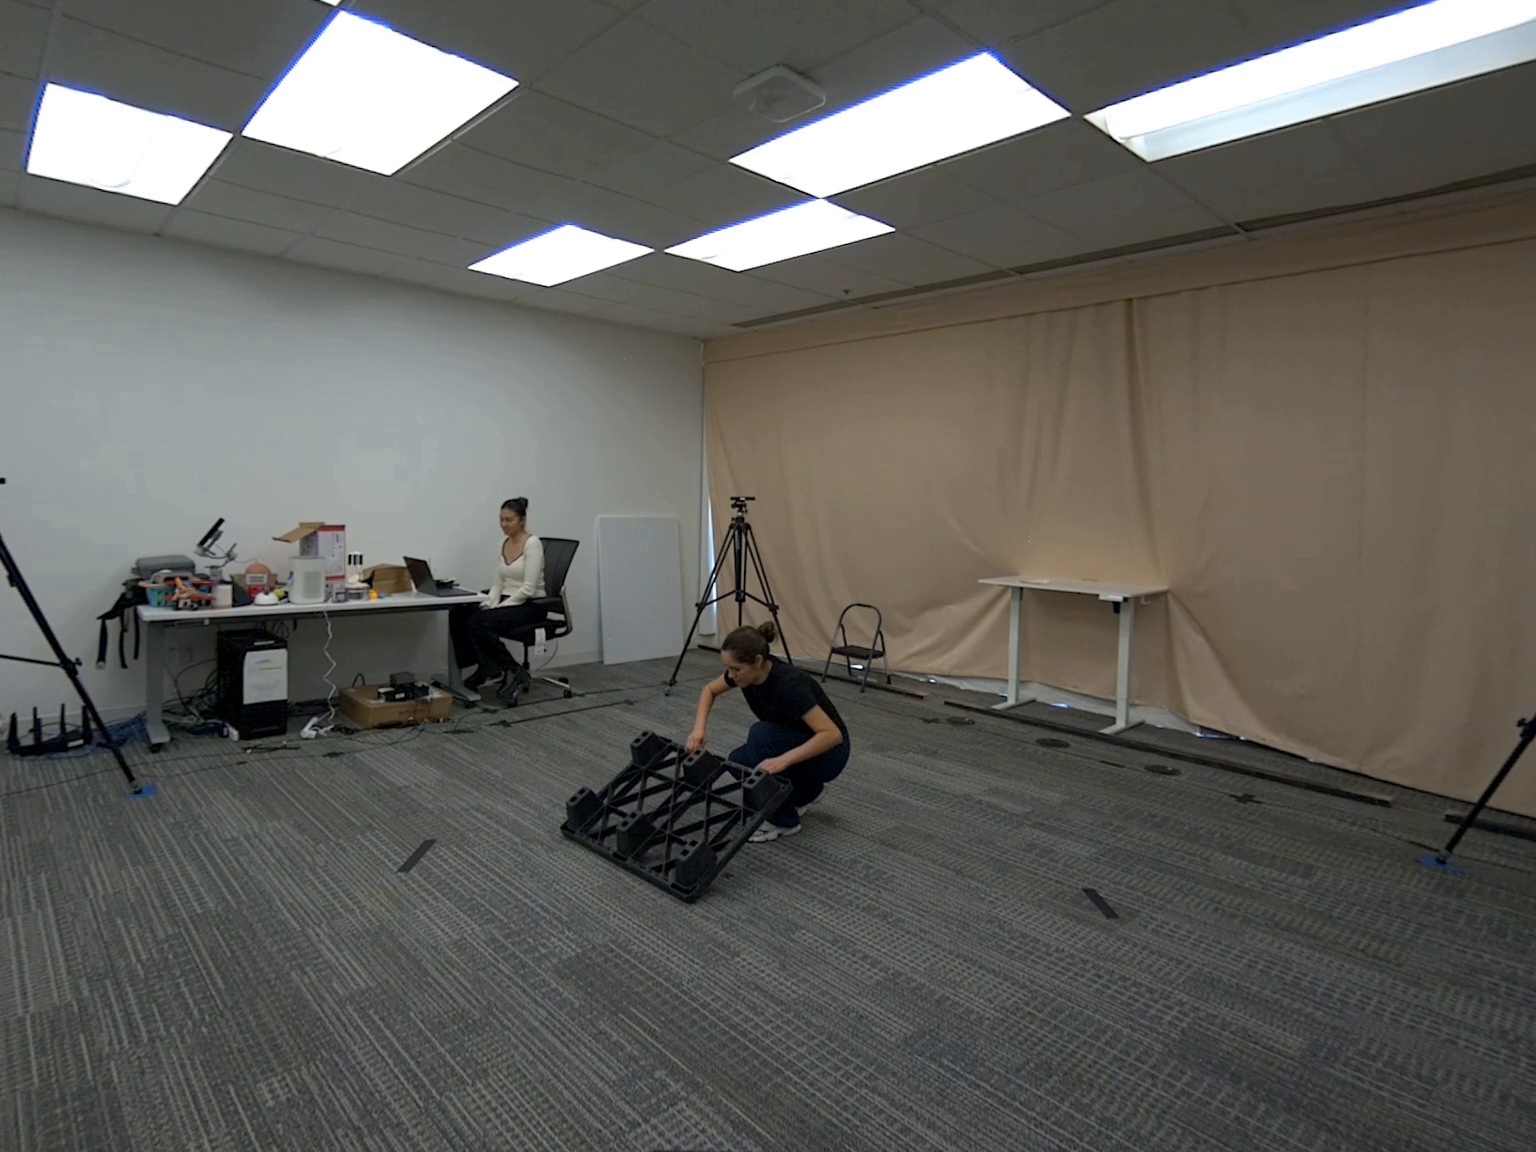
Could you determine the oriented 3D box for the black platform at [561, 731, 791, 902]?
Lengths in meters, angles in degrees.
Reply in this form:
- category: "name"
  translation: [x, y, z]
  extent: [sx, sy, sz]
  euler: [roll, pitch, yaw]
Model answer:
- category: "black platform"
  translation: [-0.398, 0.891, 3.288]
  extent: [0.826, 0.140, 0.602]
  euler: [5, 35, 44]
